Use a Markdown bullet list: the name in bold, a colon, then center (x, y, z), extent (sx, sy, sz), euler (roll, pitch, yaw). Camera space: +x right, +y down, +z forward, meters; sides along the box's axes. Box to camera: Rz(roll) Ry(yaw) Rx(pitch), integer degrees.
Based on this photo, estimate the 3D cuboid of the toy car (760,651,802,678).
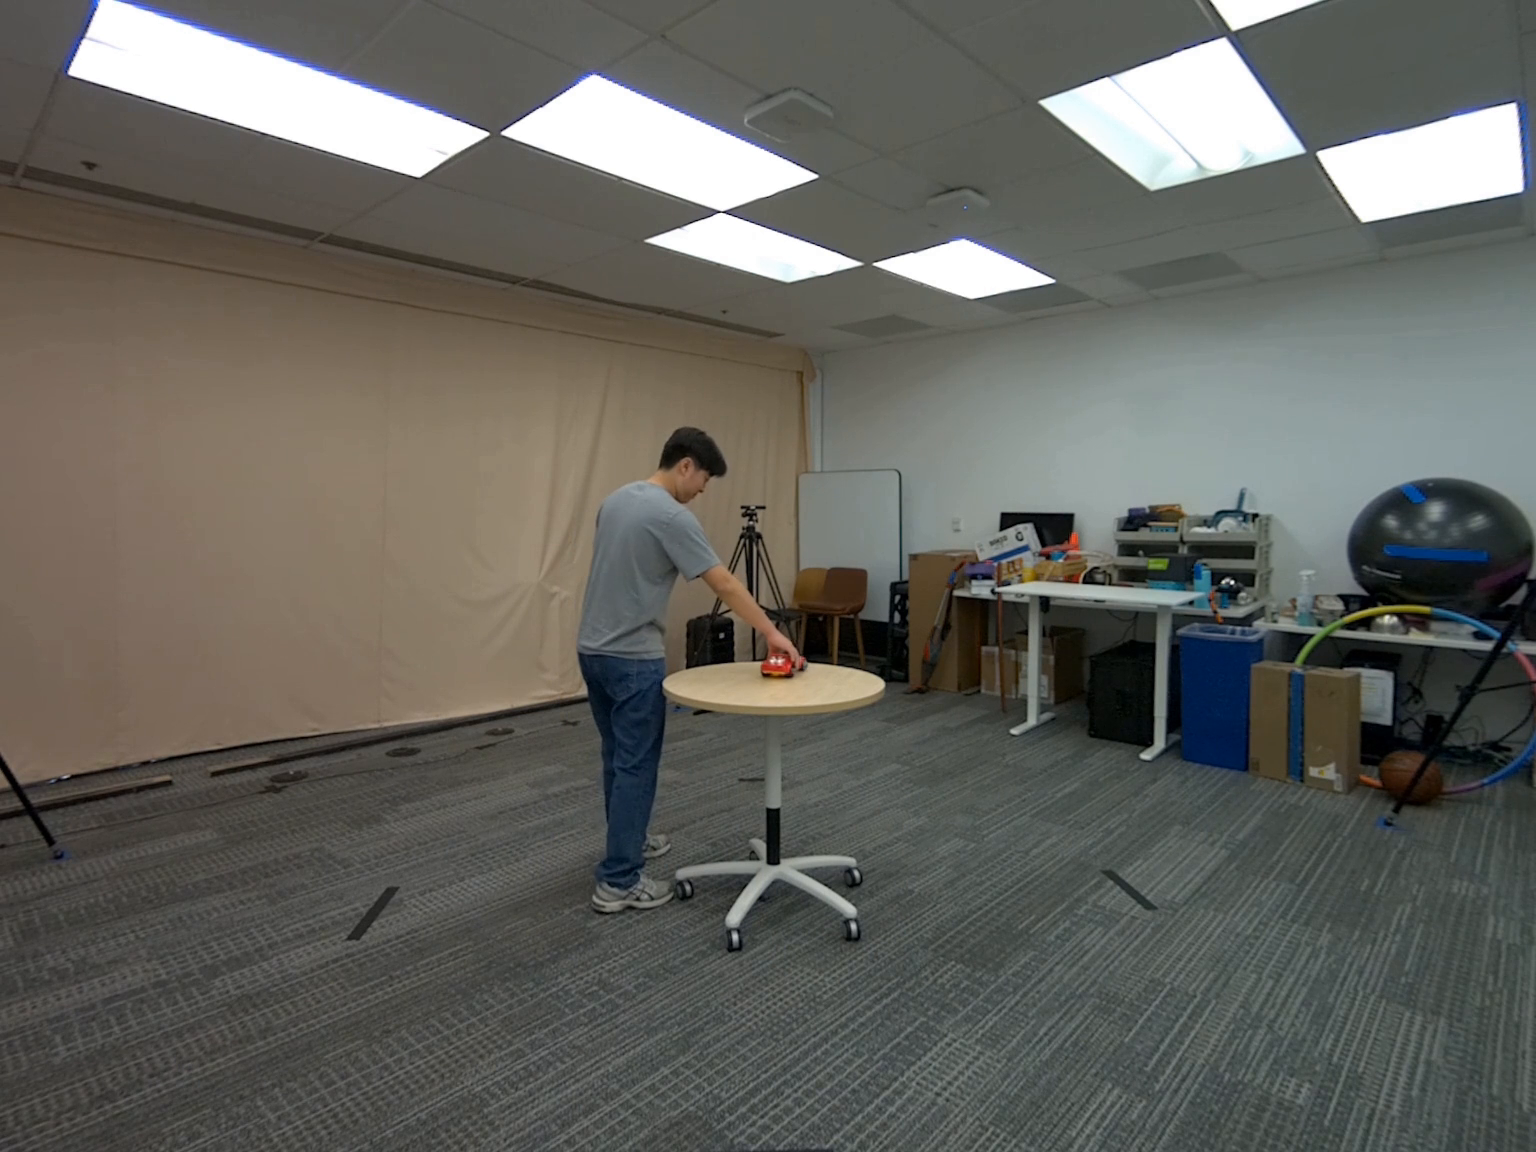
- **toy car**: center (0.056, 0.326, 3.030), extent (0.133, 0.083, 0.248), euler (2, -7, 20)
